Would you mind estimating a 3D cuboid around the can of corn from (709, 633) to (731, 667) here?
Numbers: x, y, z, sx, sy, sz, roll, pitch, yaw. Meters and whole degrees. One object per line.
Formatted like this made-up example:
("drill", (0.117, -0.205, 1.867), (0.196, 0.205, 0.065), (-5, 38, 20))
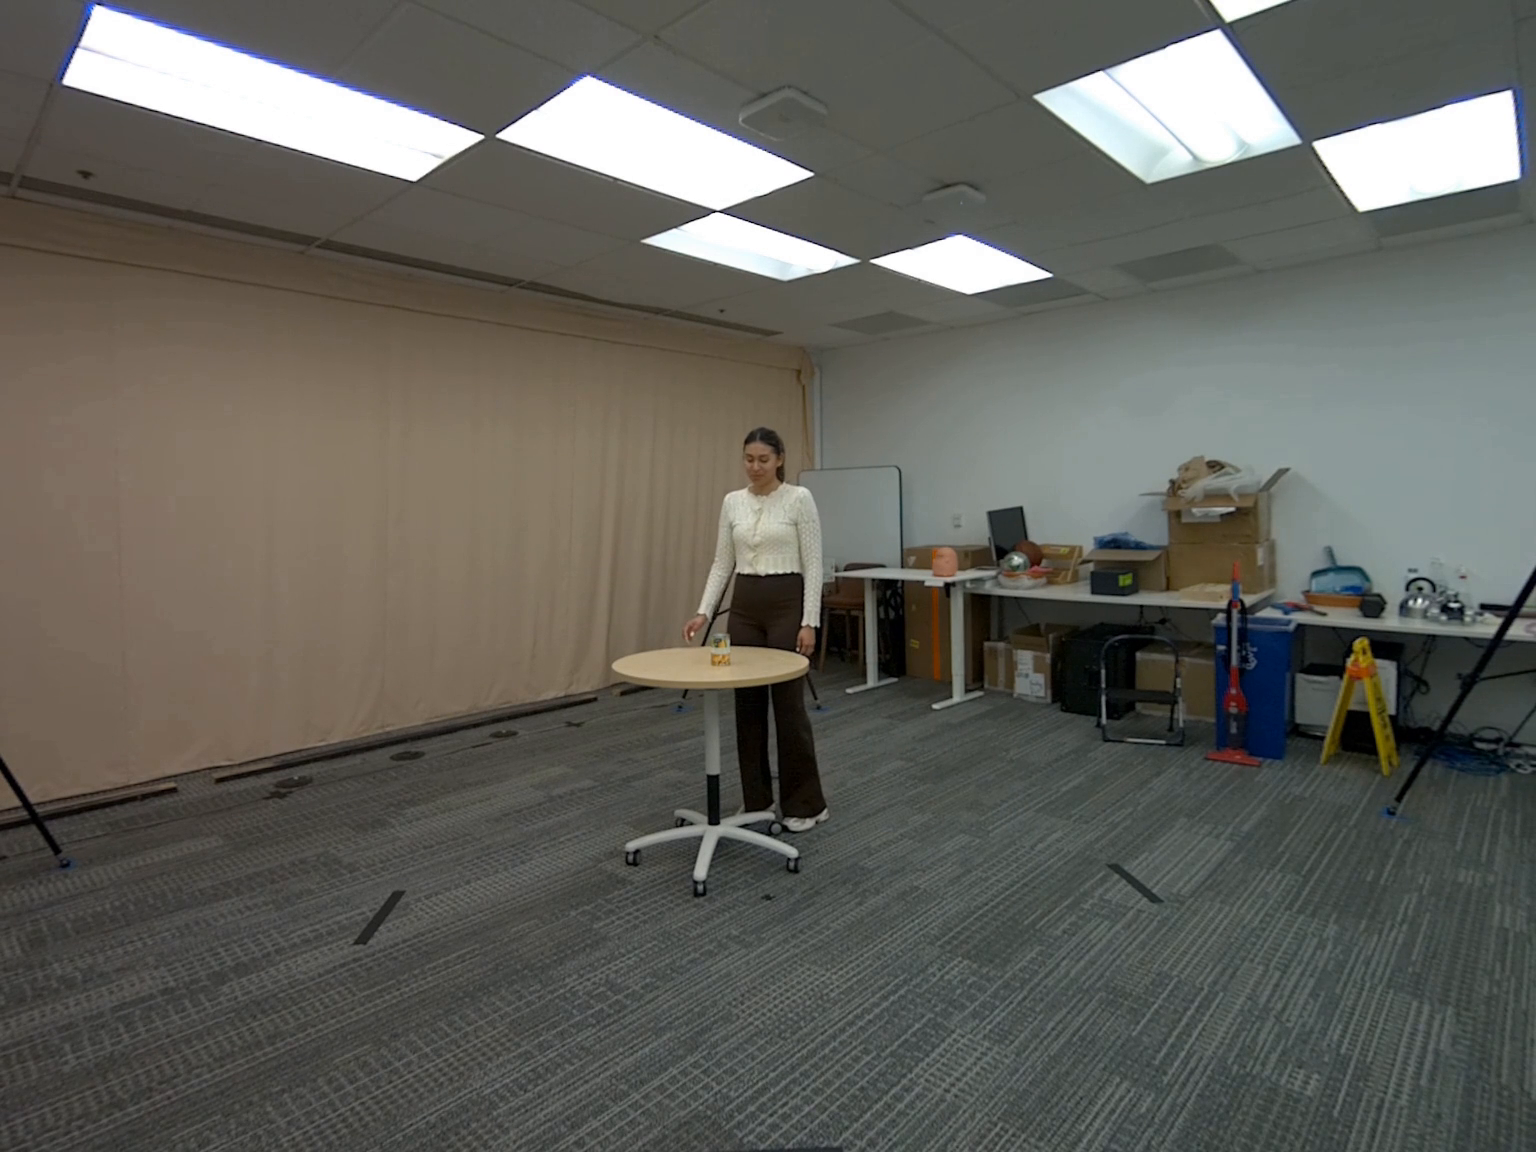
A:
("can of corn", (-0.179, 0.282, 3.232), (0.074, 0.111, 0.074), (-1, 1, -2))
